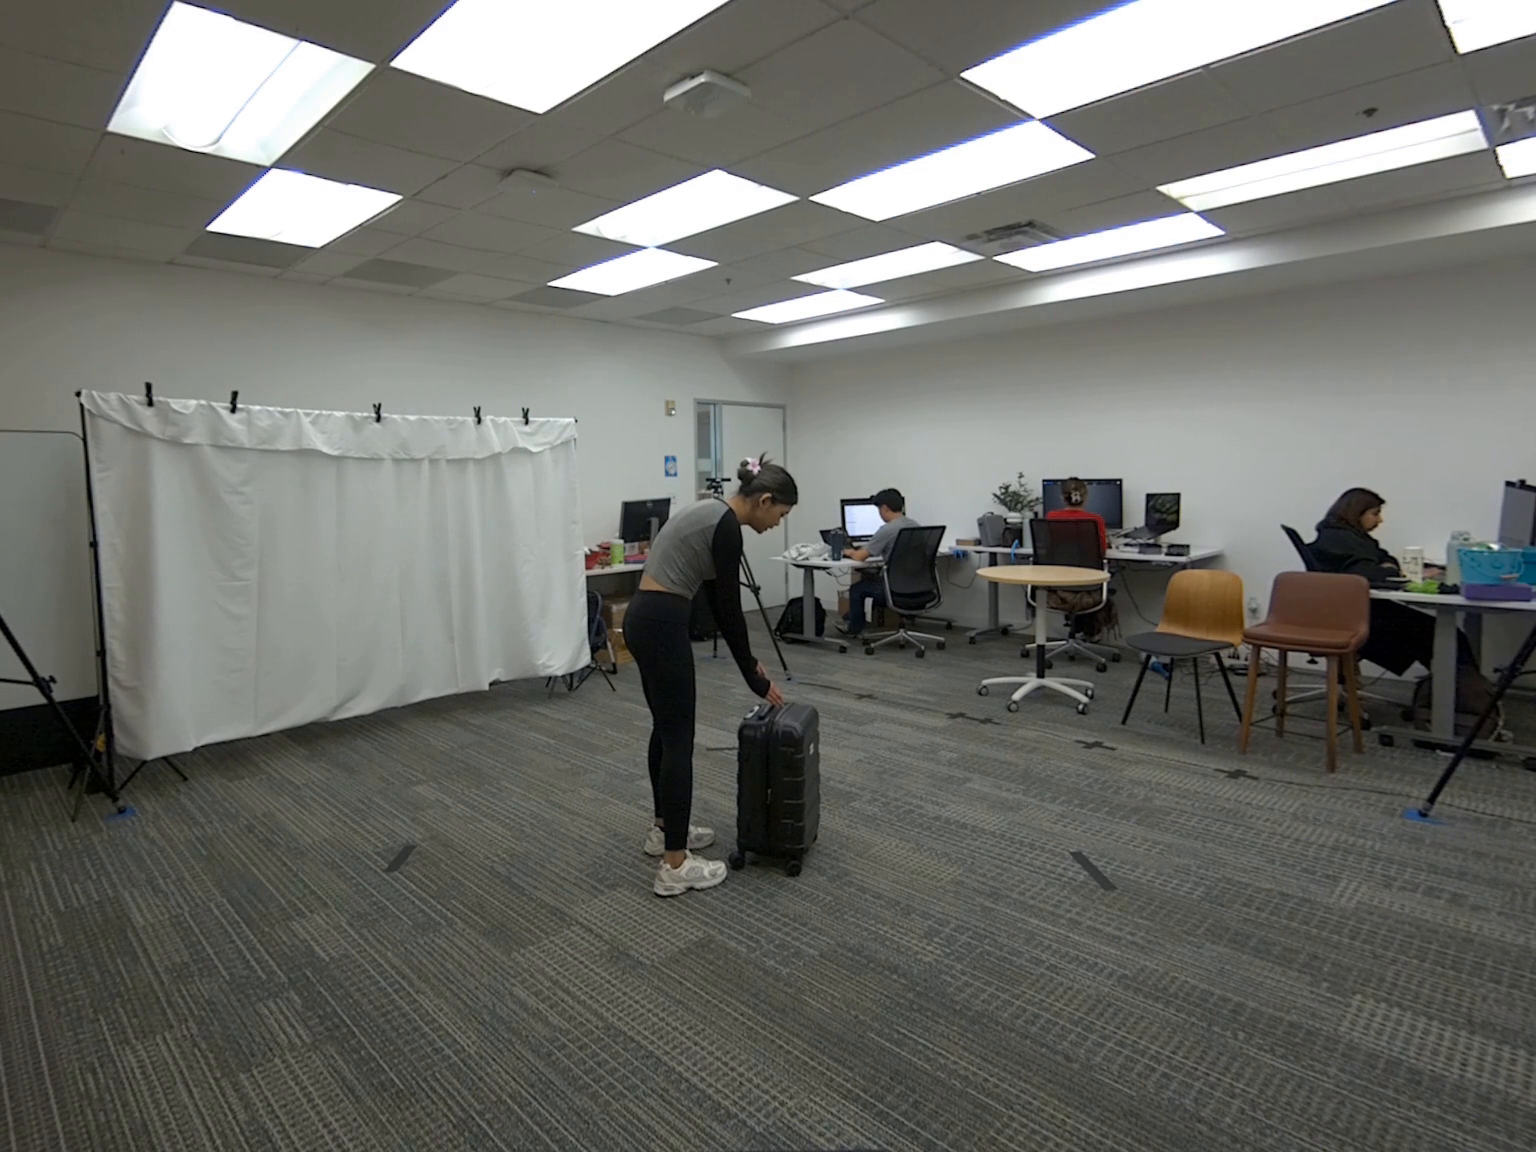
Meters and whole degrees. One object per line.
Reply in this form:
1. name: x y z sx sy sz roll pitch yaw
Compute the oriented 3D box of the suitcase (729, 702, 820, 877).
1. suitcase: 0.043 0.757 3.170 0.253 0.547 0.370 2 4 18
